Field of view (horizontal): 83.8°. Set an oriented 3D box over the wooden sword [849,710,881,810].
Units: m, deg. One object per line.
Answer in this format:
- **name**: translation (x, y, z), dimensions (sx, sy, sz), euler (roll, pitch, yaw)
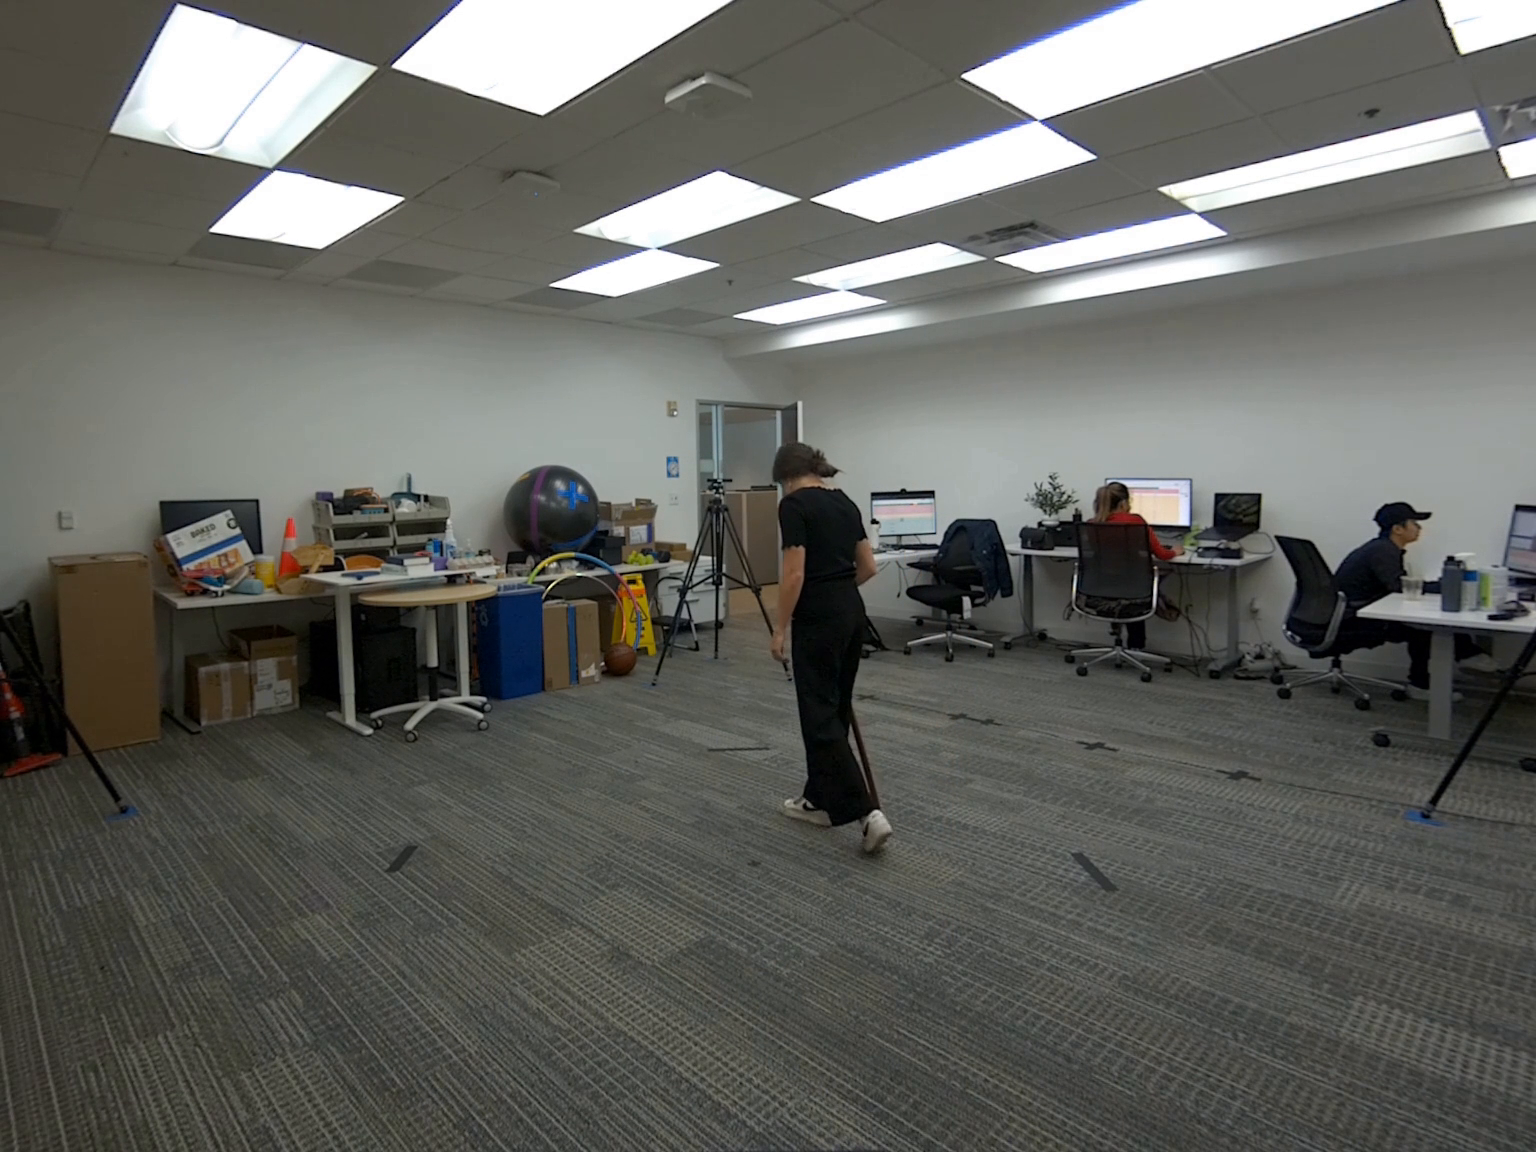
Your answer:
- **wooden sword**: translation (0.336, 0.524, 3.547), dimensions (0.051, 1.037, 0.023), euler (-18, -11, 11)
